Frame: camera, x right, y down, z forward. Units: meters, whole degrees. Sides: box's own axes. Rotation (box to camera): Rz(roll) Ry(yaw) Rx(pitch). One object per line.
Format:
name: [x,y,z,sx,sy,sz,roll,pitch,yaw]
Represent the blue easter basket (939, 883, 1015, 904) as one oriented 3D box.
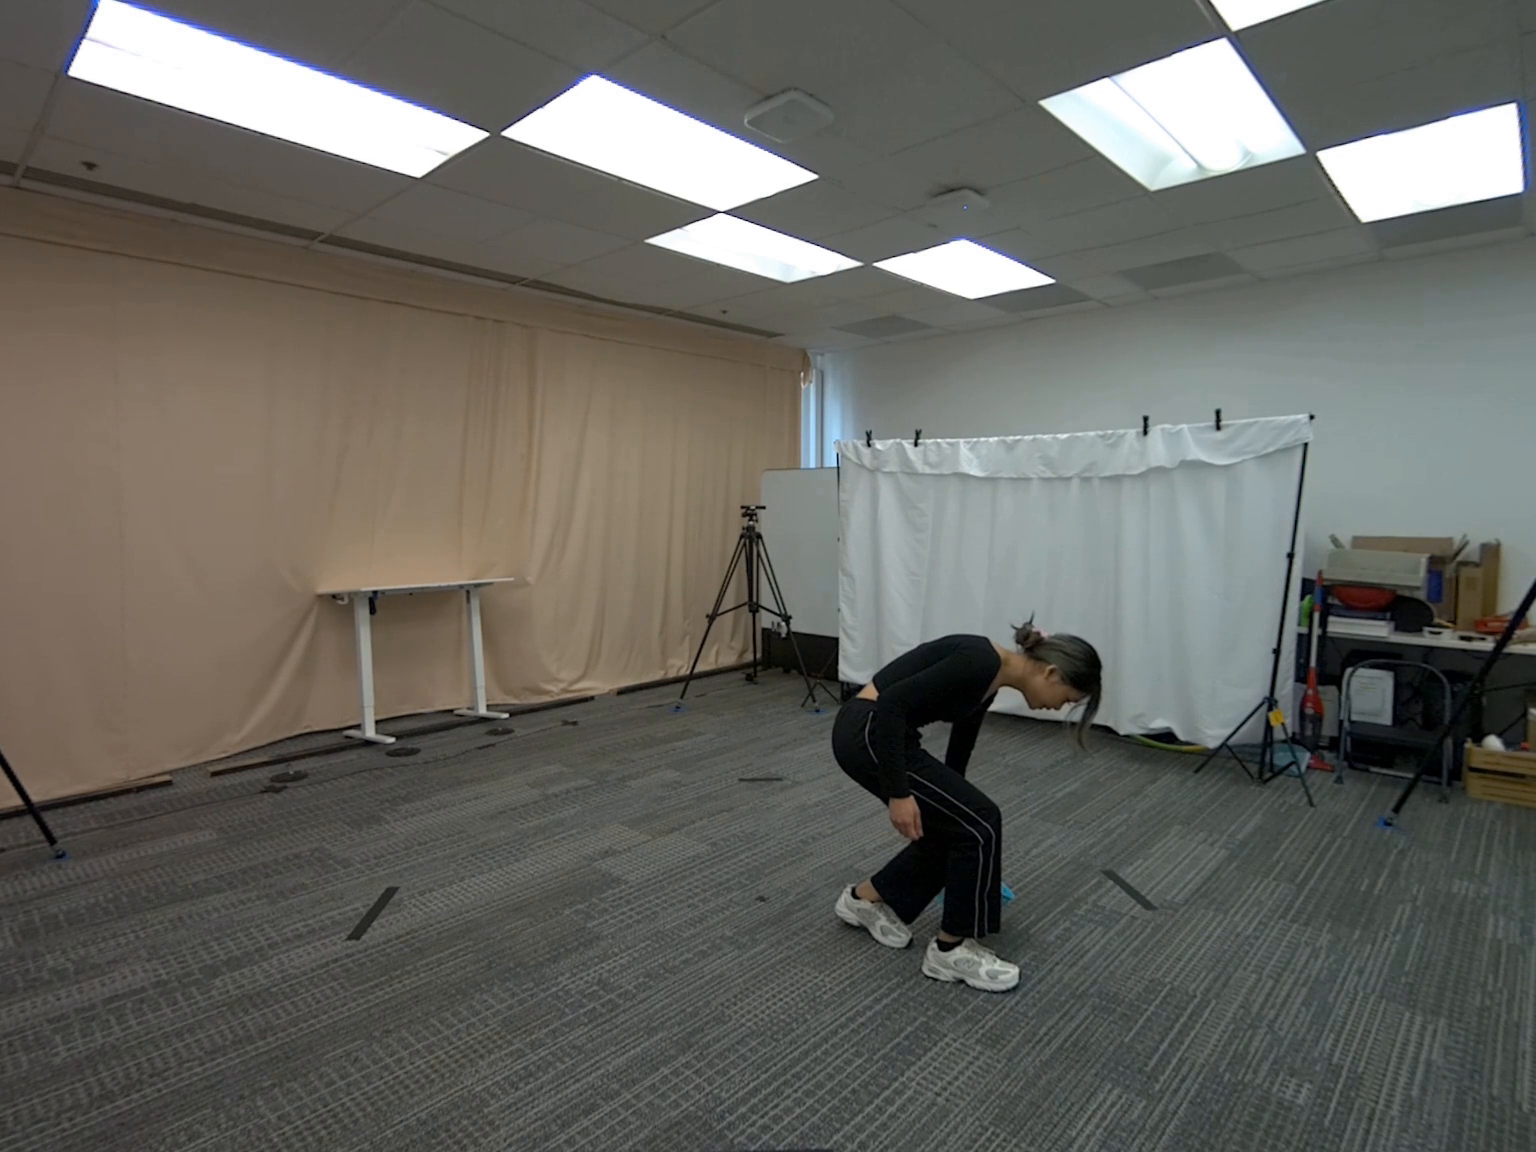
blue easter basket: [0.680,1.053,2.777,0.243,0.156,0.244,32,2,-4]
